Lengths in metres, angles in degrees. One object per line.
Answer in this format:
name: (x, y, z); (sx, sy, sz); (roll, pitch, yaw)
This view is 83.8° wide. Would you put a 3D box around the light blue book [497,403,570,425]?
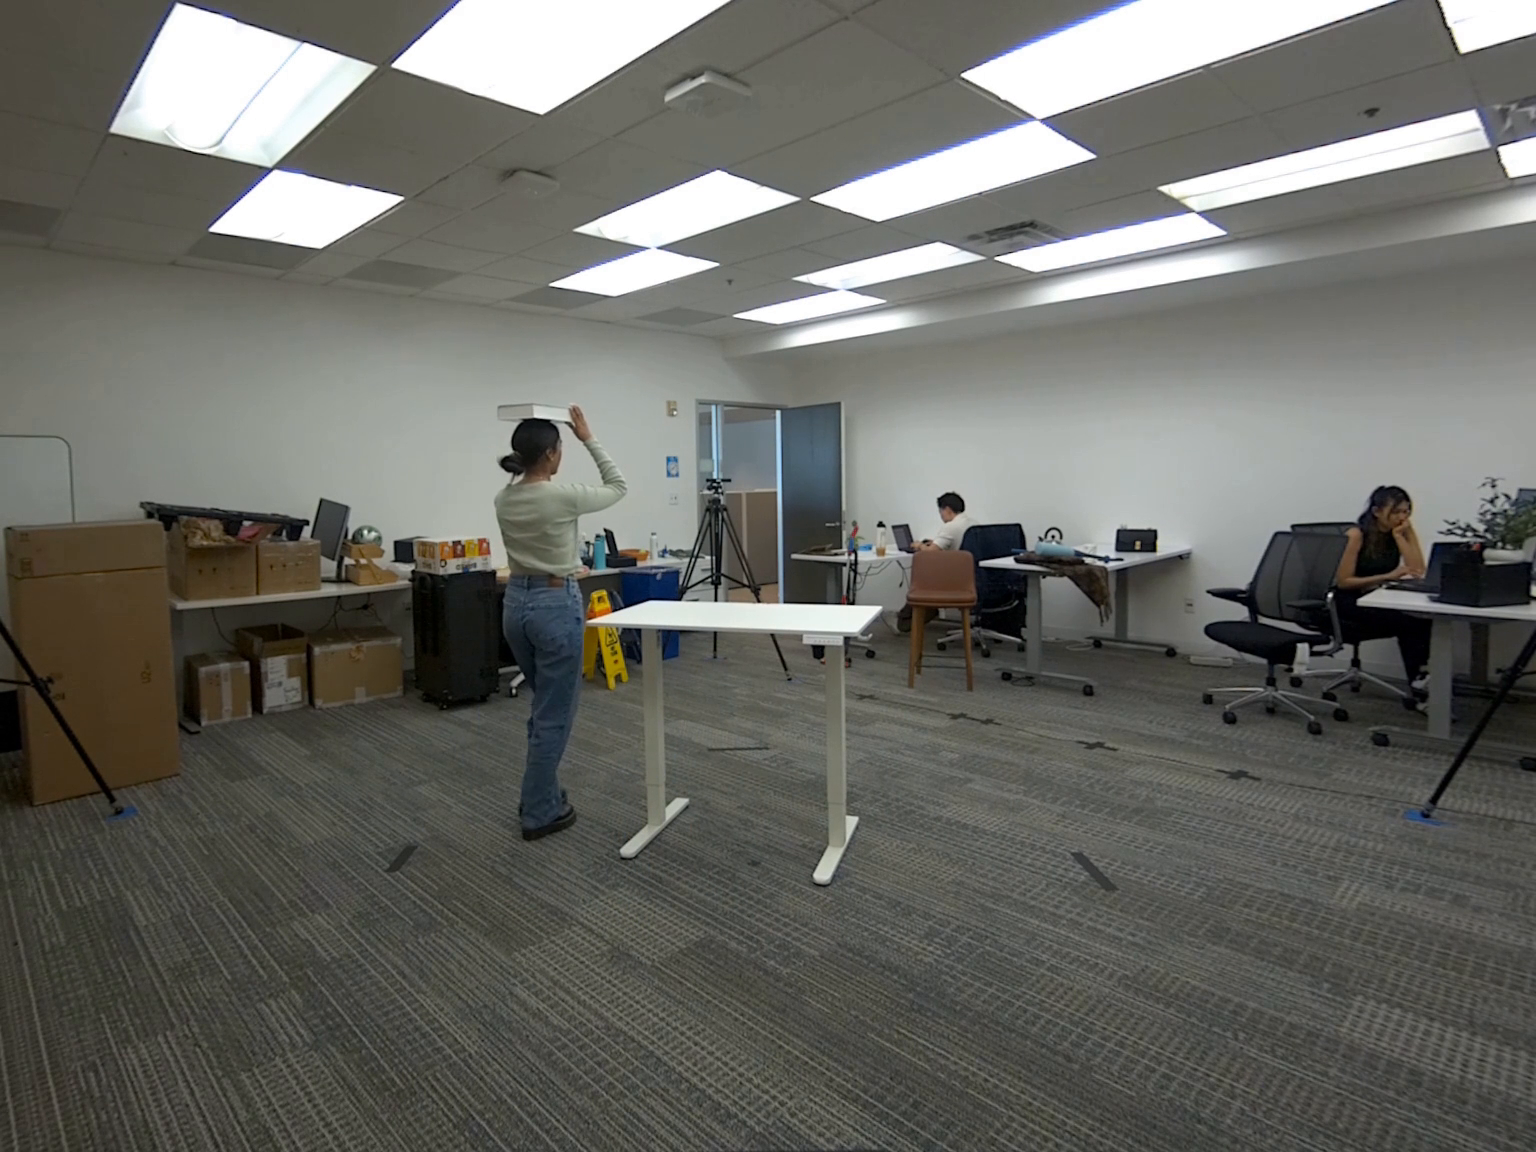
light blue book: (-0.924, -0.640, 3.386); (0.195, 0.059, 0.257); (2, 7, 23)
